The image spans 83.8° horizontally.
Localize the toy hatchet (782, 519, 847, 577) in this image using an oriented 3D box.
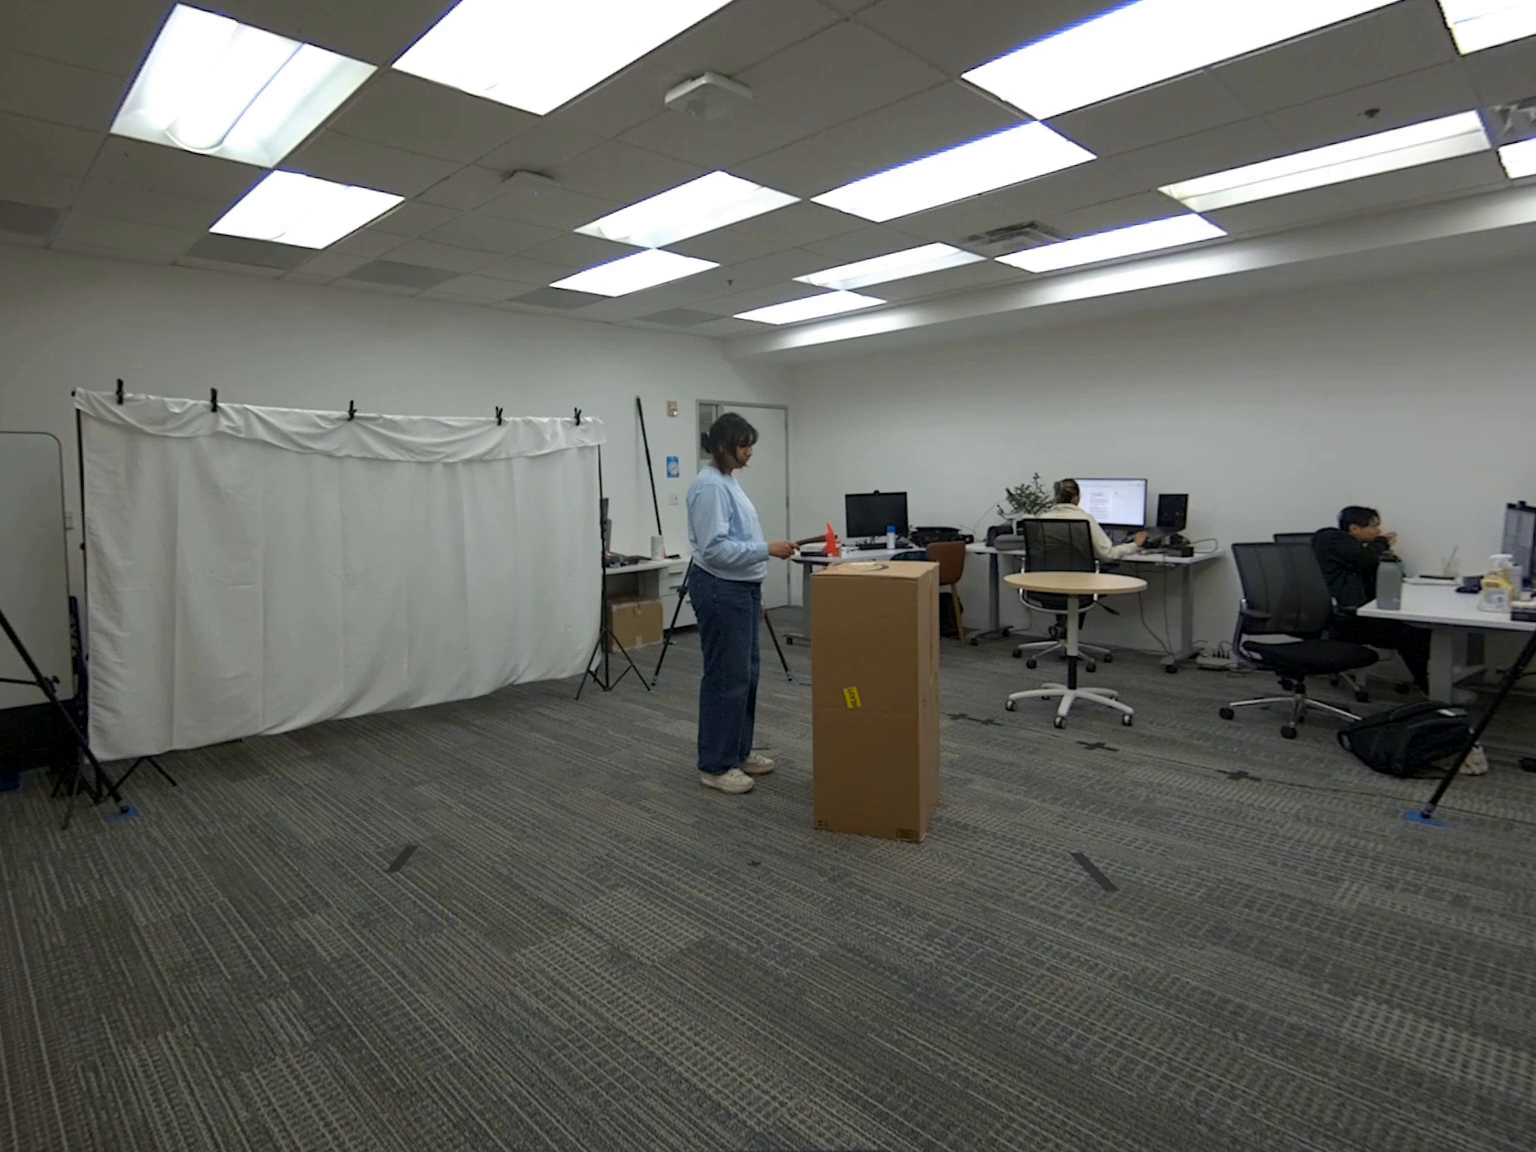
[{"bbox_3d":[0.187,-0.123,3.702,0.271,0.130,0.029,-28,5,9],"label":"toy hatchet"}]
